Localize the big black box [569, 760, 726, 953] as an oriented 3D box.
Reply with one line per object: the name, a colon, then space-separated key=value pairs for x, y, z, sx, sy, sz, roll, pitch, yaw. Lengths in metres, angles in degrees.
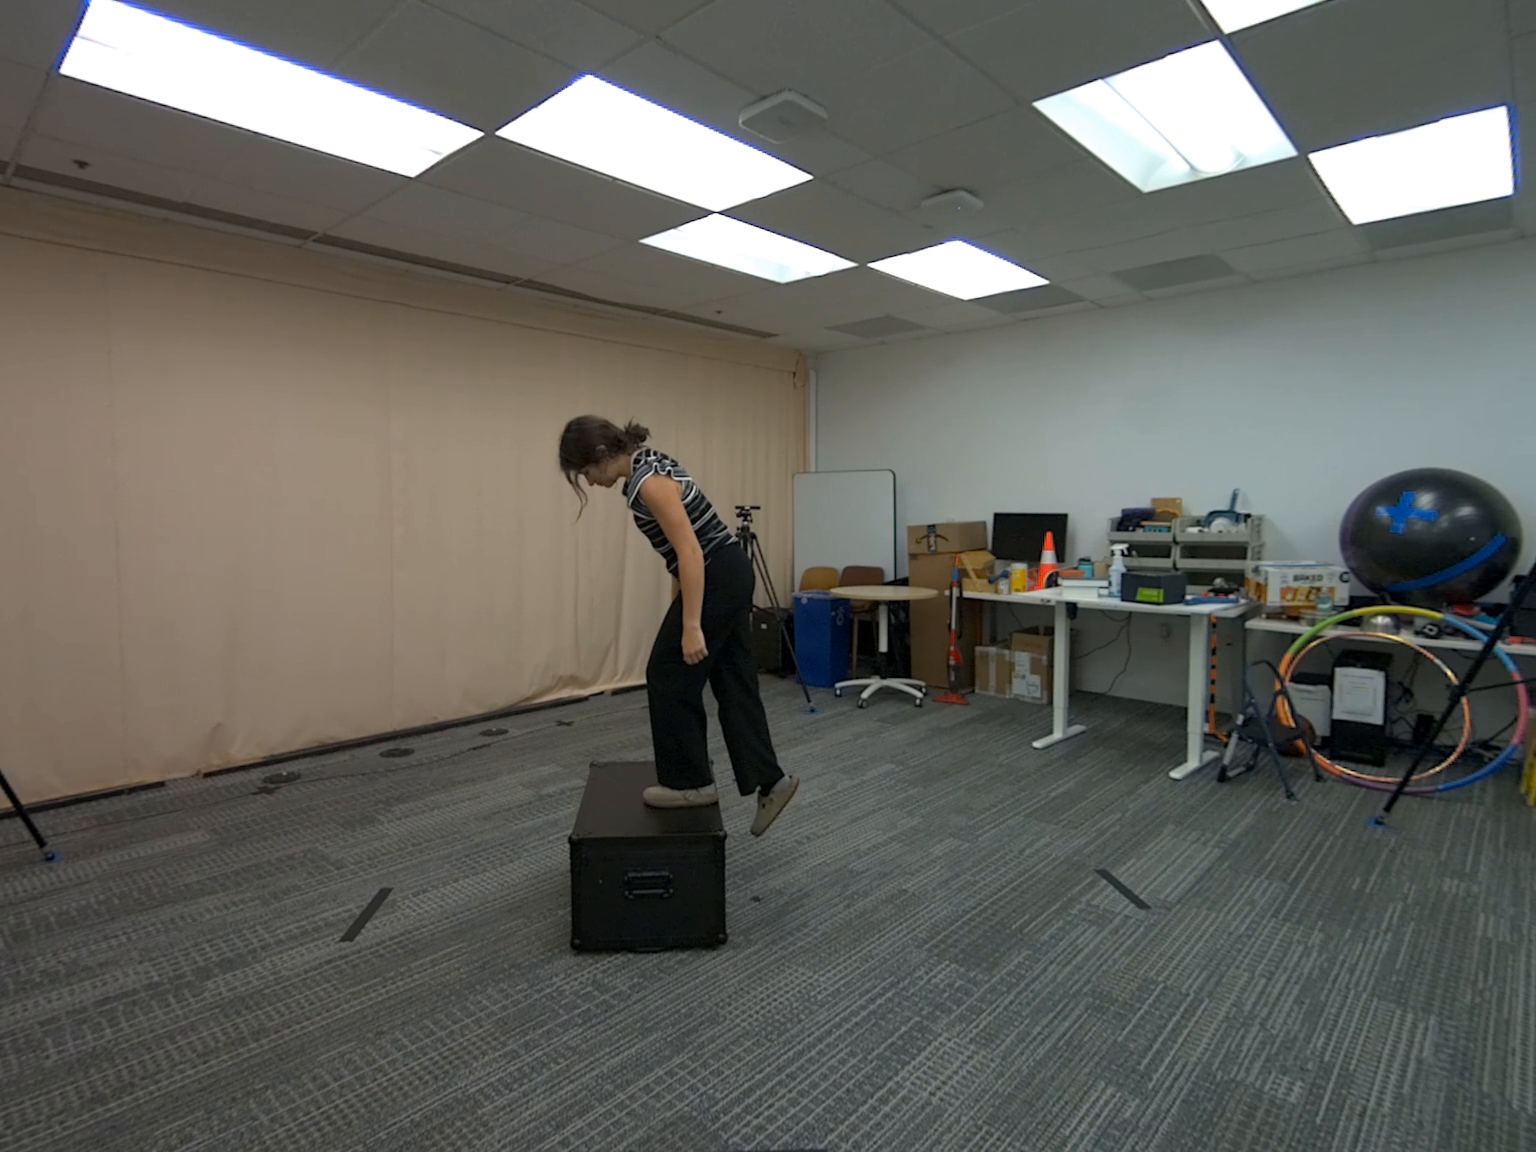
big black box: x=-0.418 y=0.950 z=3.025 sx=0.518 sy=0.395 sz=0.869 roll=0 pitch=5 yaw=-7
